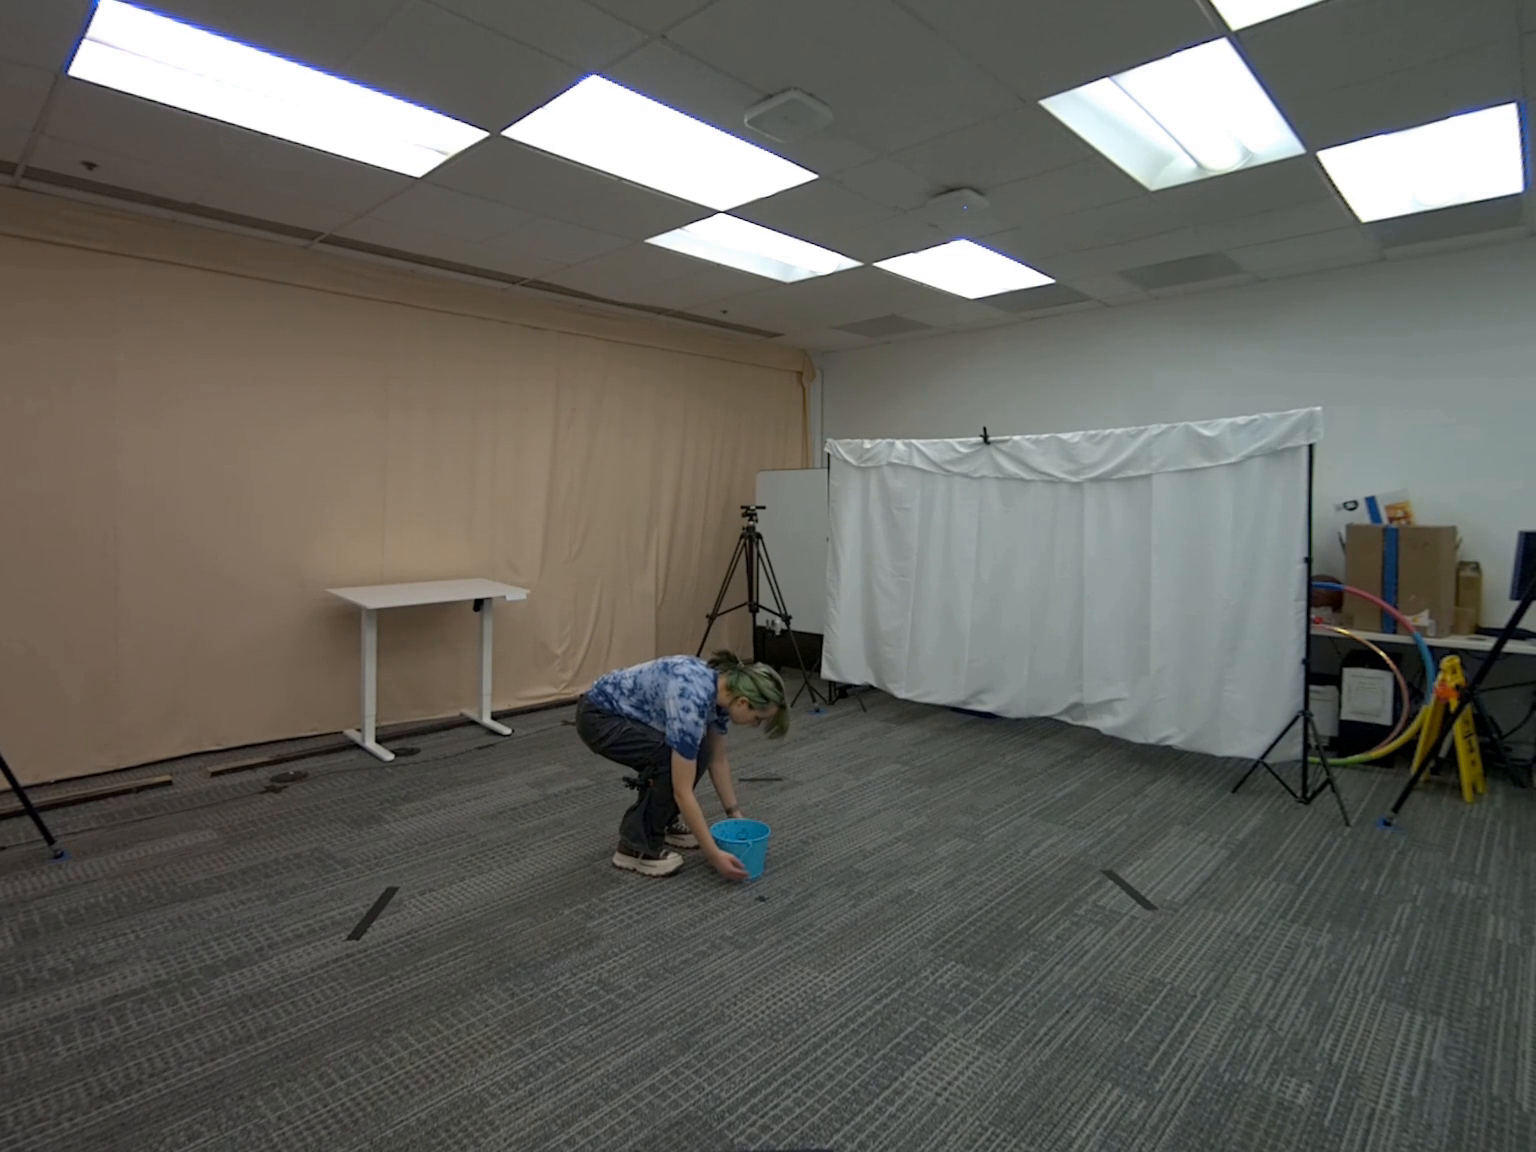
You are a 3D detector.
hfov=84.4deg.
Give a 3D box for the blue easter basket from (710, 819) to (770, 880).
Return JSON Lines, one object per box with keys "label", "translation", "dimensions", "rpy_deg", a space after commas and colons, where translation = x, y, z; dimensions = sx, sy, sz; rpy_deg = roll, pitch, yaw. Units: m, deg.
{"label": "blue easter basket", "translation": [-0.108, 1.047, 3.215], "dimensions": [0.243, 0.155, 0.244], "rpy_deg": [-1, 5, -2]}
